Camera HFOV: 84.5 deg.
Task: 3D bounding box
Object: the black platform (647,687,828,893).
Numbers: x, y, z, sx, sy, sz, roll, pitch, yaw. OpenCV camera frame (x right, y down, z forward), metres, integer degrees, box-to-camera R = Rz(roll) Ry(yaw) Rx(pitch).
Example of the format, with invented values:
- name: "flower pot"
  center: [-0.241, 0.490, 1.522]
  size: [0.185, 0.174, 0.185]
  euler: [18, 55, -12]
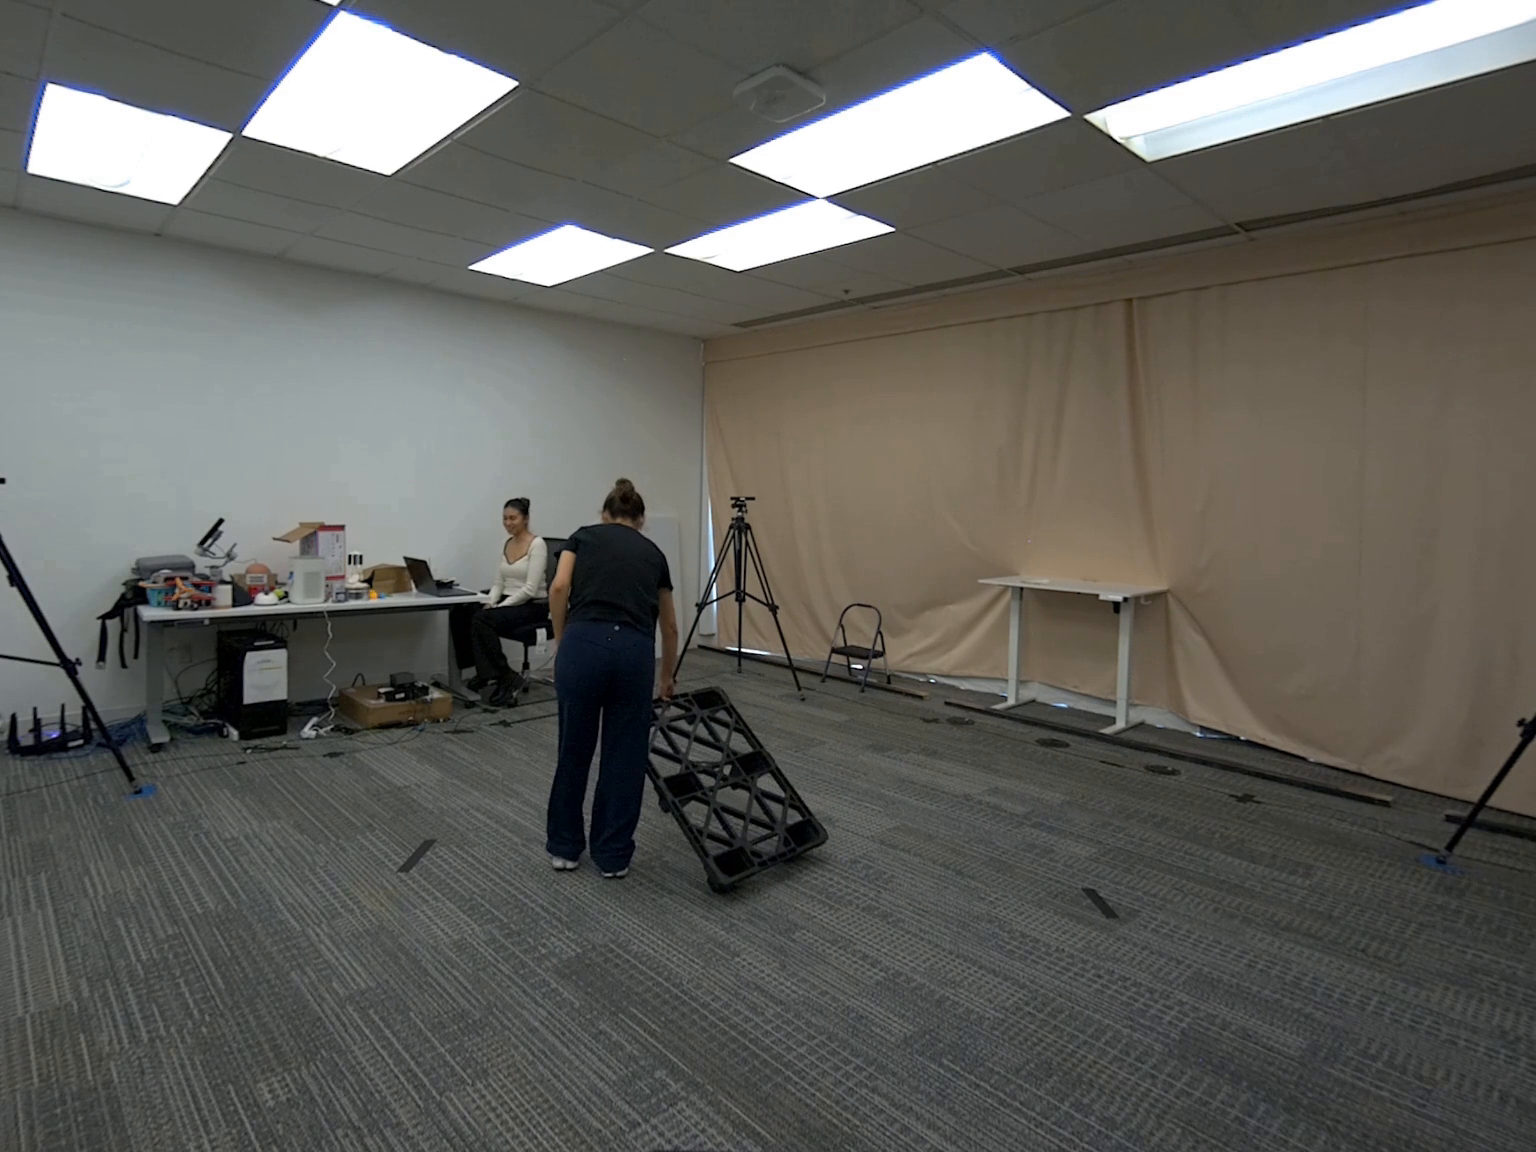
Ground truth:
- name: "black platform"
  center: [-0.220, 0.815, 3.281]
  size: [0.591, 0.142, 0.828]
  euler: [-4, 45, -47]
